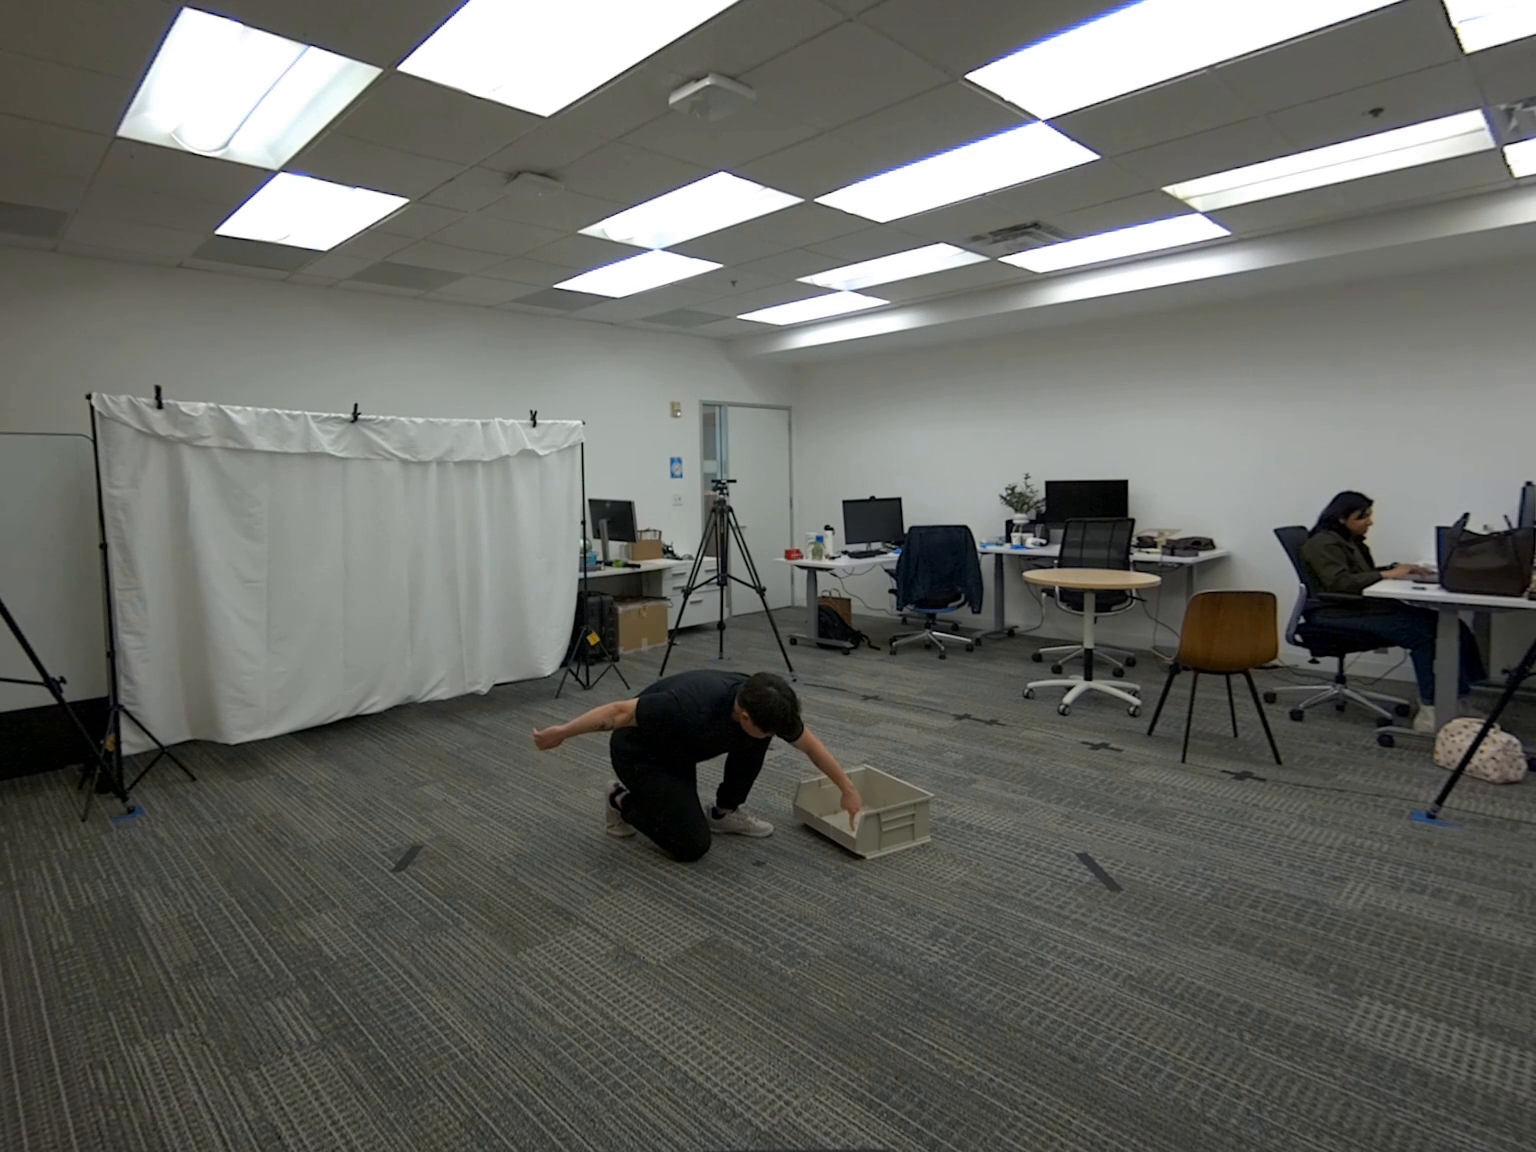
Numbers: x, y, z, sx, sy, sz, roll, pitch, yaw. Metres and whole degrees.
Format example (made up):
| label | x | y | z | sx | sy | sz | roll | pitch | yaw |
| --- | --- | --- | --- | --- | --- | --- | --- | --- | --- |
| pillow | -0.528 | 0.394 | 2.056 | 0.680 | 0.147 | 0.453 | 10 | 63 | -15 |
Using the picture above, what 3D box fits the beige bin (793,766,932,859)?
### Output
| label | x | y | z | sx | sy | sz | roll | pitch | yaw |
| --- | --- | --- | --- | --- | --- | --- | --- | --- | --- |
| beige bin | 0.364 | 0.917 | 3.356 | 0.368 | 0.188 | 0.434 | -4 | 6 | -31 |
